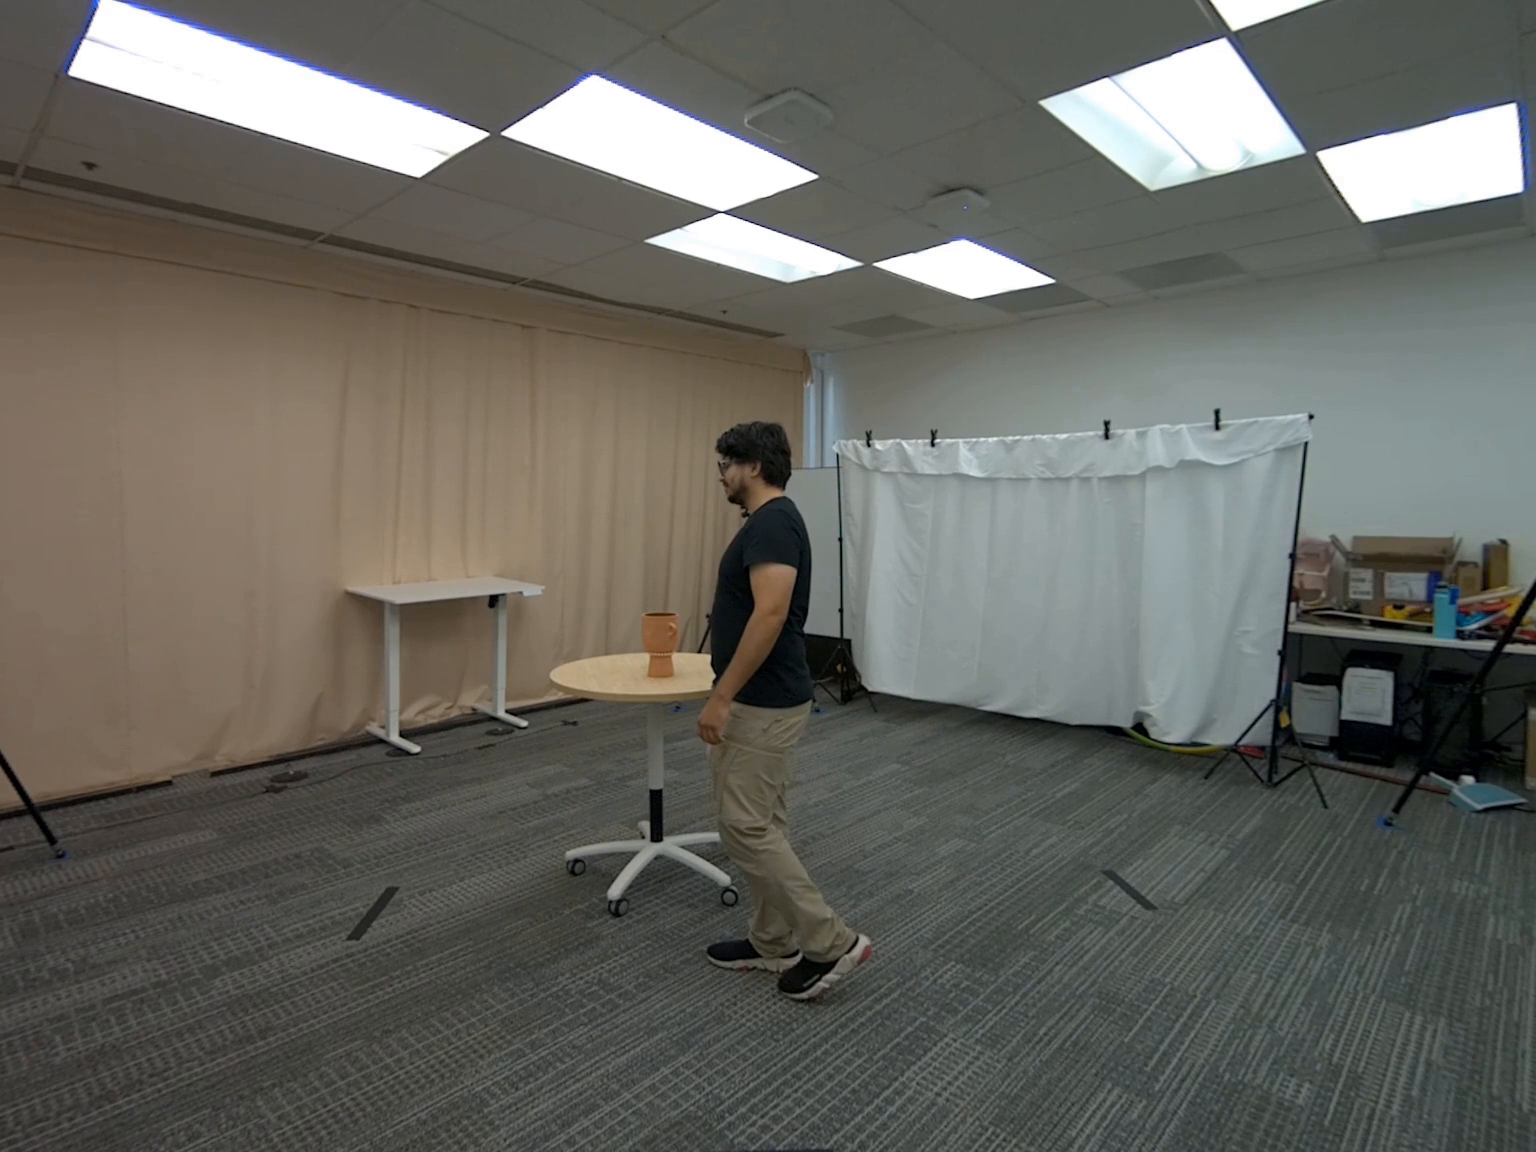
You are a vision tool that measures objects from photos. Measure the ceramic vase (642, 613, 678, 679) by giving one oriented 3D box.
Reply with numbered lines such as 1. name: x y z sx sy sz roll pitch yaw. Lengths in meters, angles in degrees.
1. ceramic vase: -0.395 0.255 3.044 0.134 0.219 0.159 -2 4 -2
